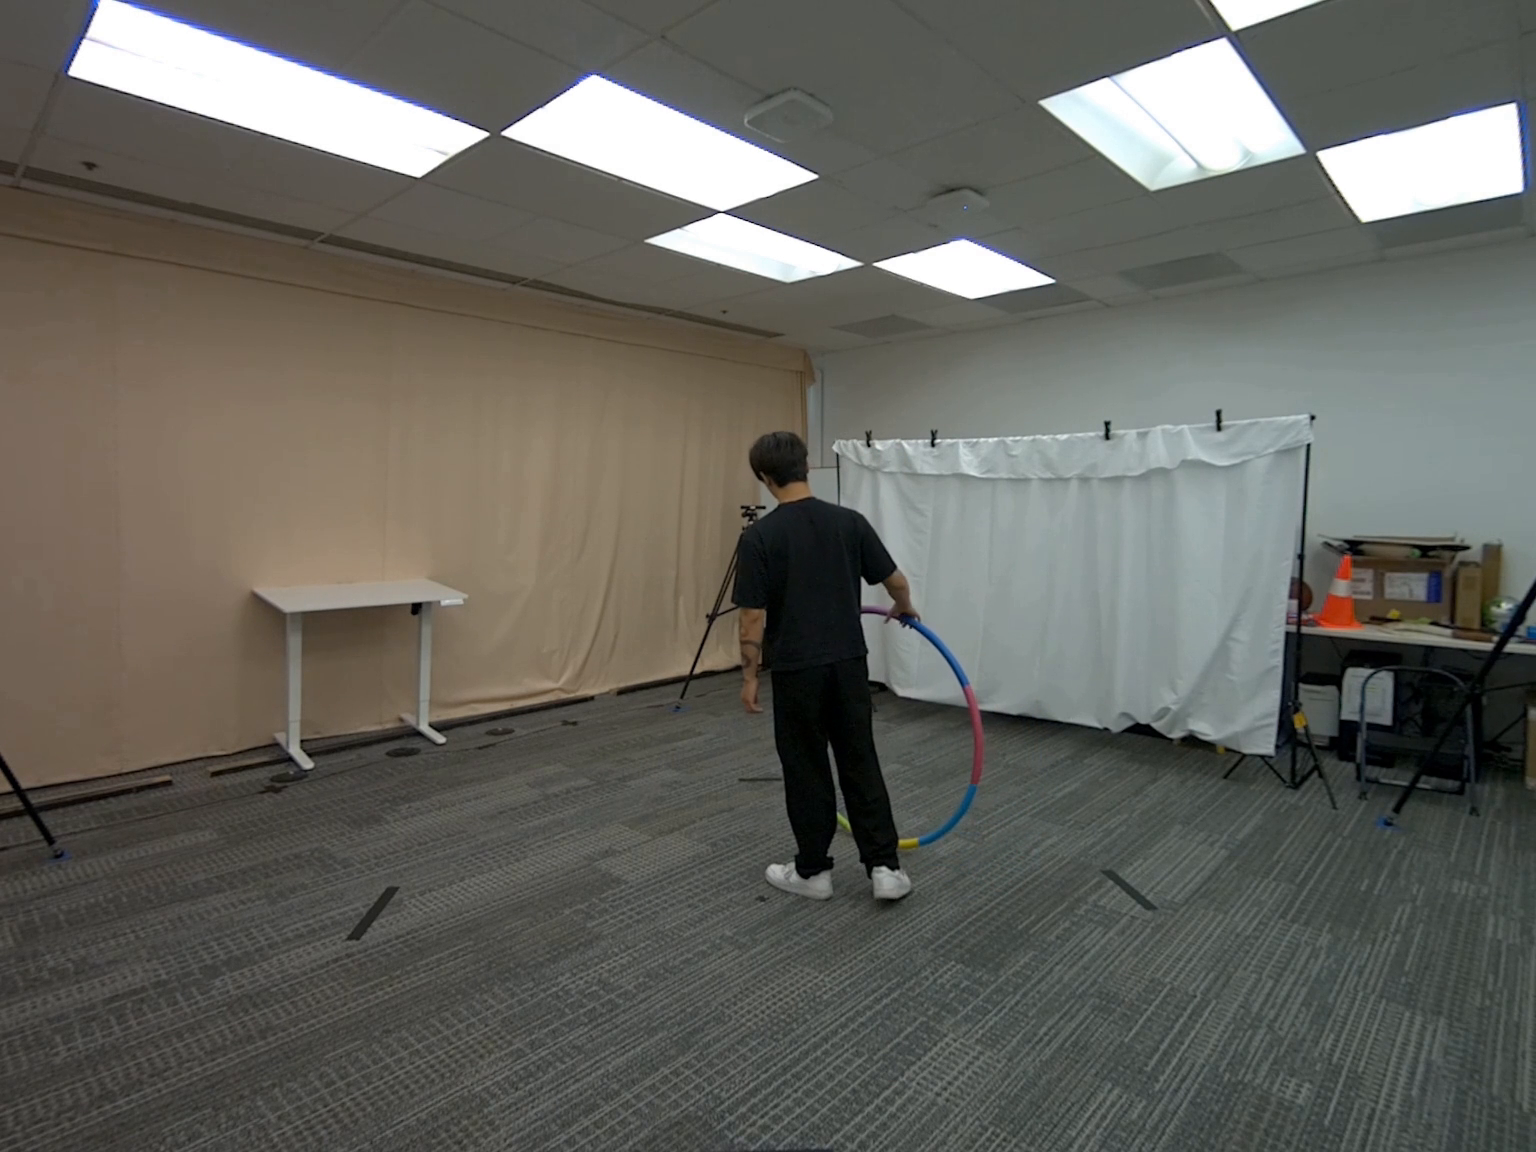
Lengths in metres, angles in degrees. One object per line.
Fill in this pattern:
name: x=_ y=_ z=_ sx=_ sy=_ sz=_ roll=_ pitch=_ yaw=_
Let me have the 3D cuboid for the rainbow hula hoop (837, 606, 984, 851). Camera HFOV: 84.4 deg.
rainbow hula hoop: x=0.438 y=0.614 z=3.462 sx=0.034 sy=0.977 sz=1.011 roll=0 pitch=3 yaw=-43
